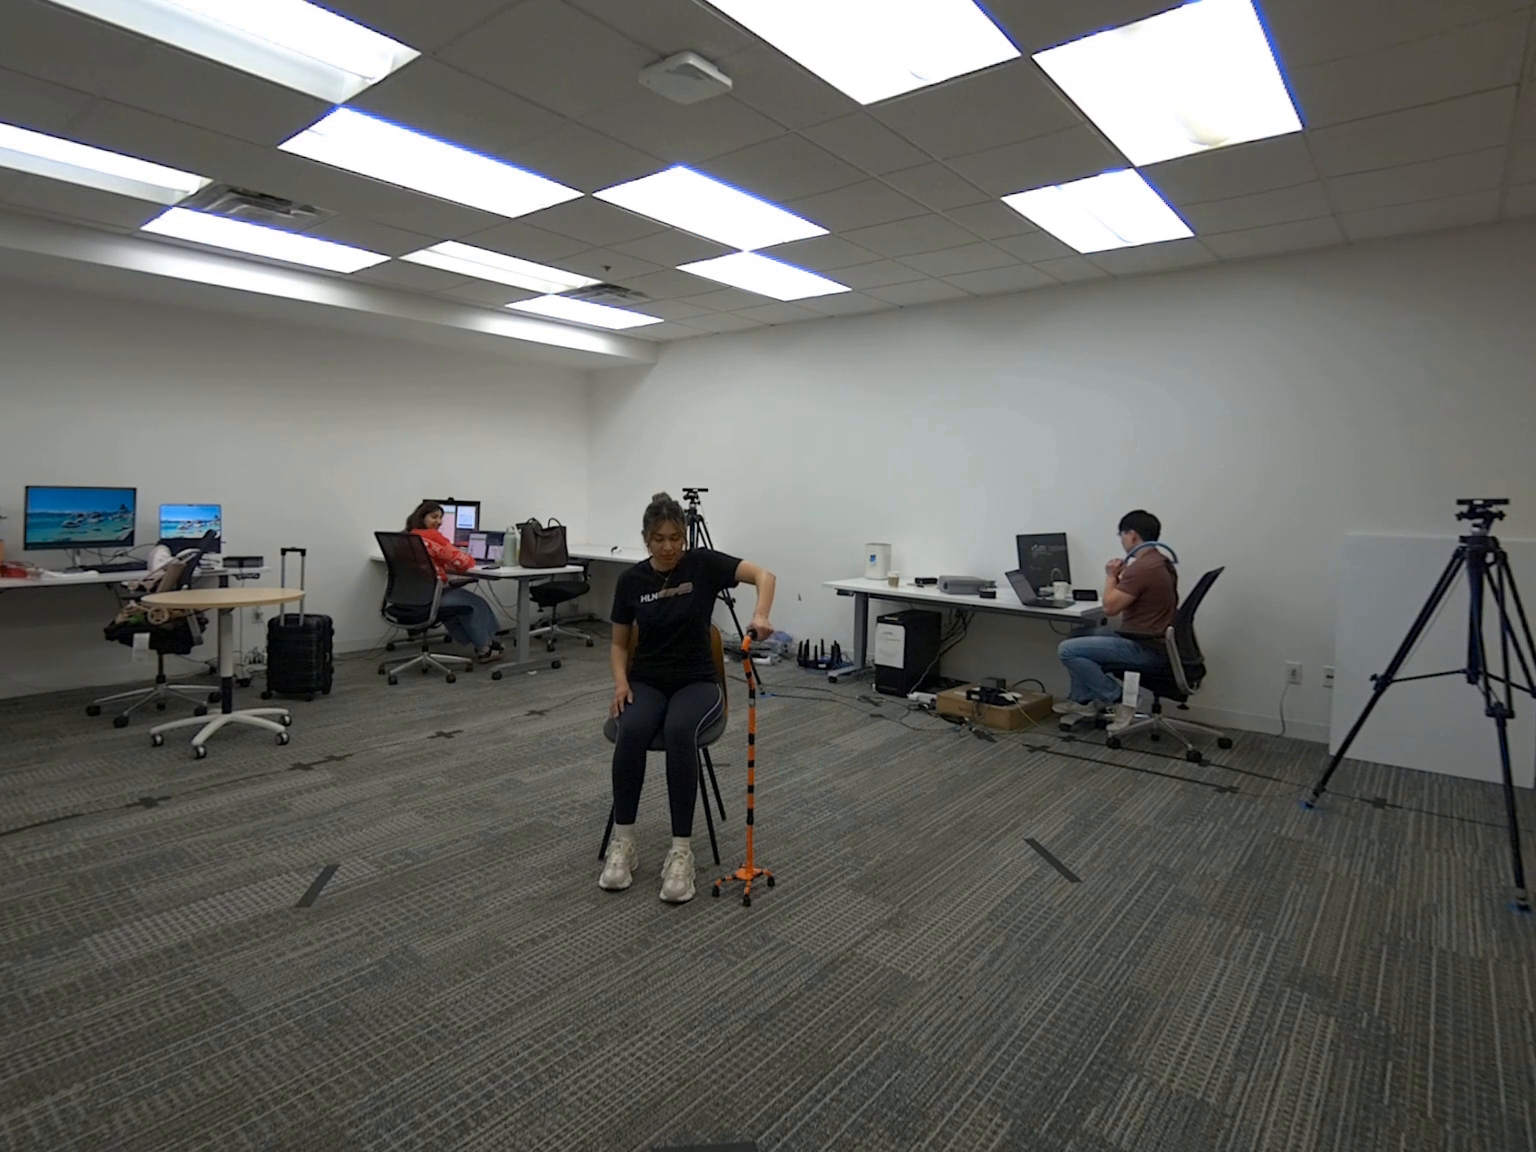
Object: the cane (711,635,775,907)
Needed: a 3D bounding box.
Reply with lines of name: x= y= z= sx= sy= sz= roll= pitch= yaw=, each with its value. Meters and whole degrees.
cane: x=-0.077 y=0.641 z=2.934 sx=0.156 sy=0.907 sz=0.201 roll=2 pitch=1 yaw=31
